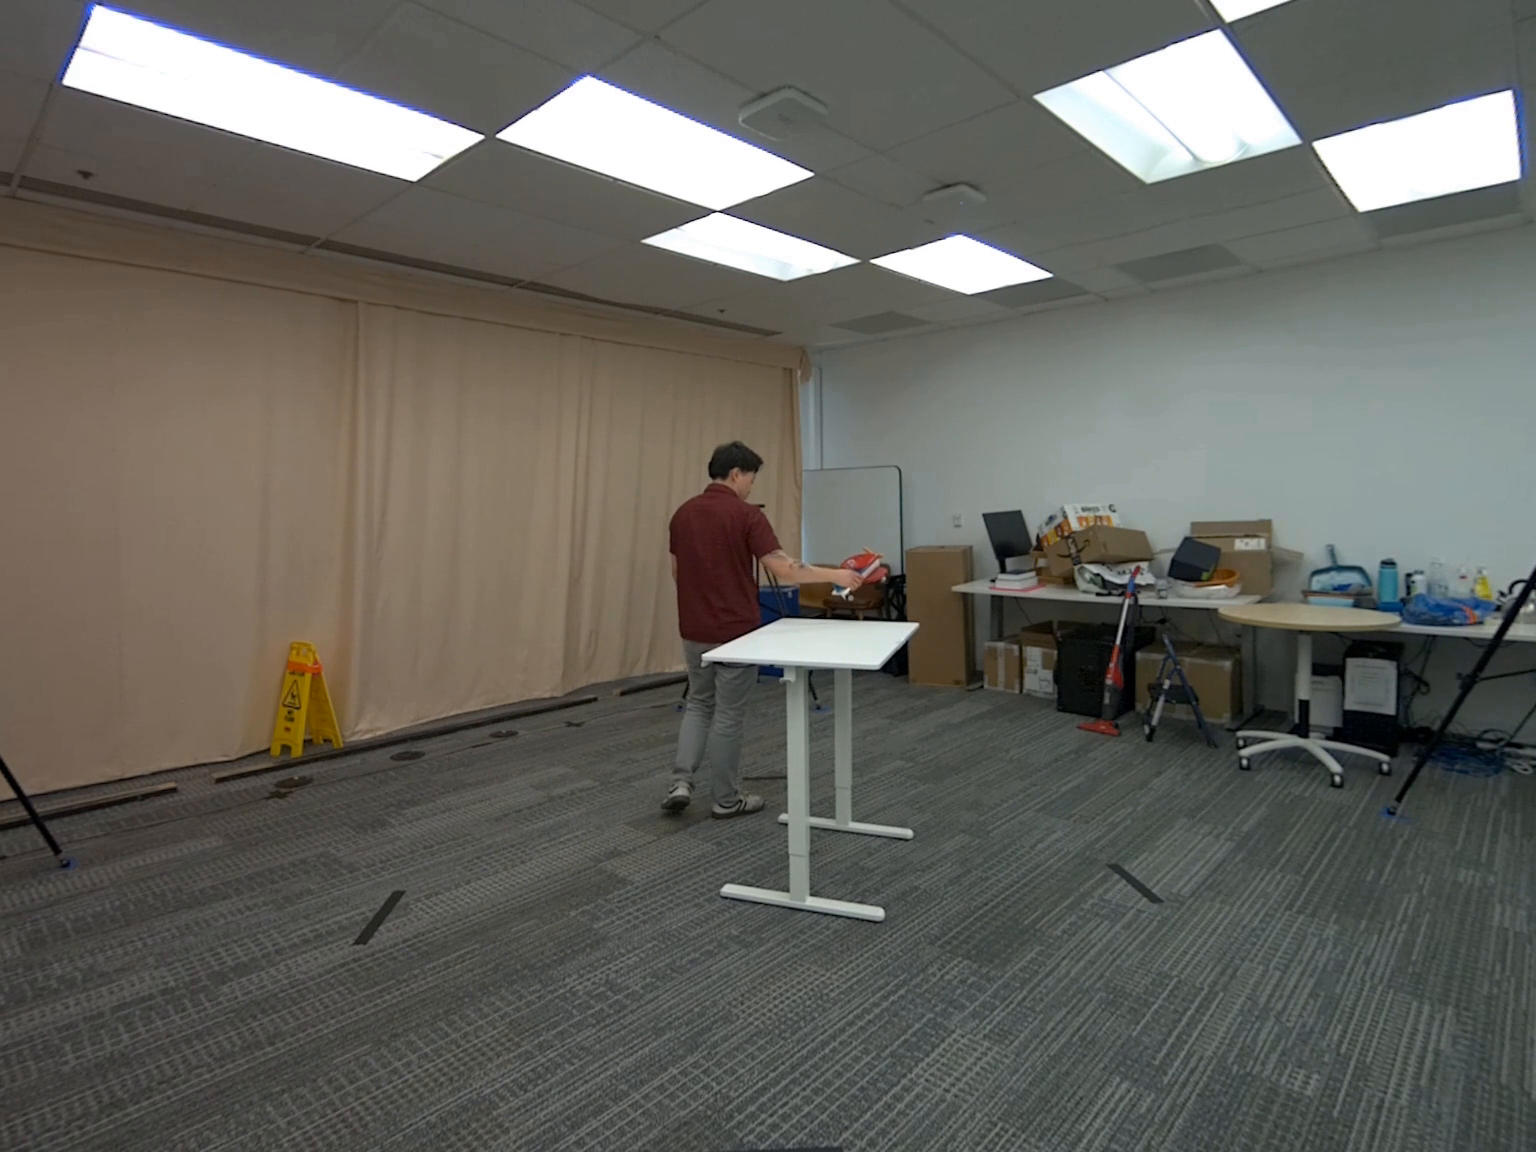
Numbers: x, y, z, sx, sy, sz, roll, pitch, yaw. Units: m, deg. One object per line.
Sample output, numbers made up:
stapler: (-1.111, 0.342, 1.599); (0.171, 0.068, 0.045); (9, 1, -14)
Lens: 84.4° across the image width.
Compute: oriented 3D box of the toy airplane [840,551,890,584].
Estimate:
toy airplane: (0.403, -0.001, 3.682); (0.257, 0.155, 0.255); (-15, 13, 40)
